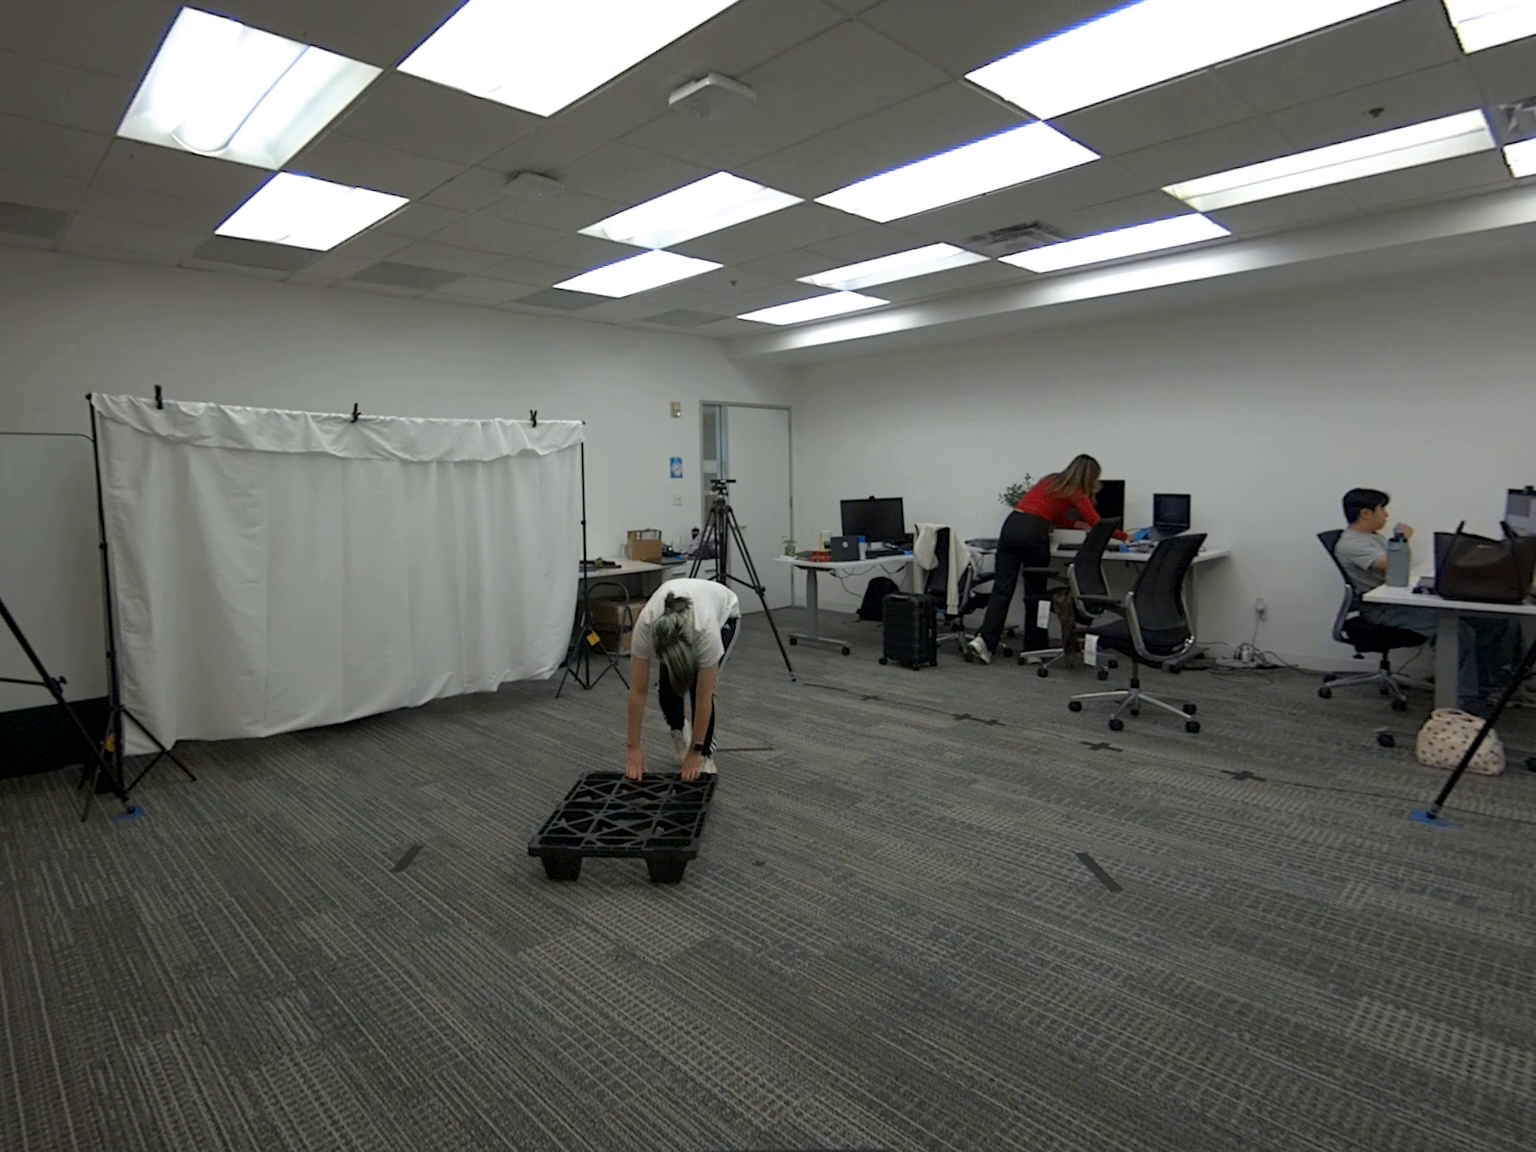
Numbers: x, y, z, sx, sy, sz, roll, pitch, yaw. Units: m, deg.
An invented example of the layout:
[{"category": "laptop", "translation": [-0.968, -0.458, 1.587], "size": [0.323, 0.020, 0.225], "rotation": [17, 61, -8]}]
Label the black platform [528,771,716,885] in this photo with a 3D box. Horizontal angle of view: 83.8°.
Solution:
[{"category": "black platform", "translation": [-0.530, 0.964, 3.338], "size": [0.608, 0.143, 0.805], "rotation": [-2, 5, 4]}]
